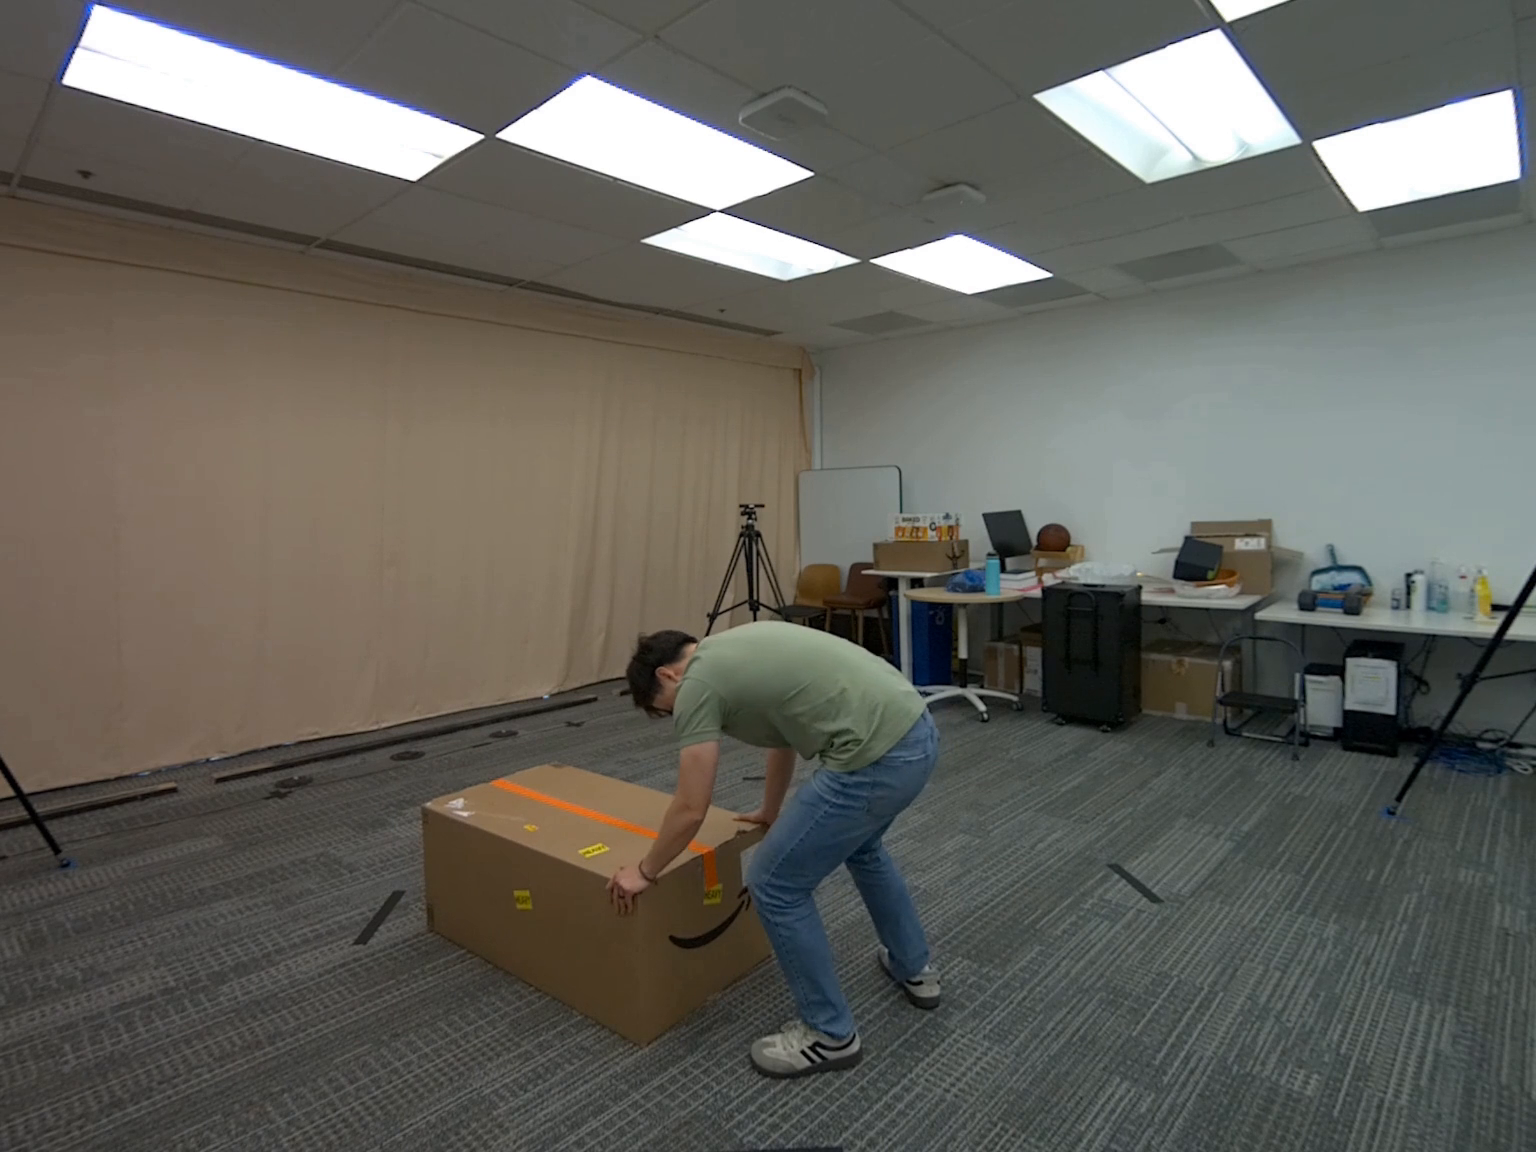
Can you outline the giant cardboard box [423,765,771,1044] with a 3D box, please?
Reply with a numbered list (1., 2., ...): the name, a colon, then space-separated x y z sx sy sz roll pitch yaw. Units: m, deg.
1. giant cardboard box: -0.570 0.963 2.705 1.059 0.425 0.561 3 6 38
